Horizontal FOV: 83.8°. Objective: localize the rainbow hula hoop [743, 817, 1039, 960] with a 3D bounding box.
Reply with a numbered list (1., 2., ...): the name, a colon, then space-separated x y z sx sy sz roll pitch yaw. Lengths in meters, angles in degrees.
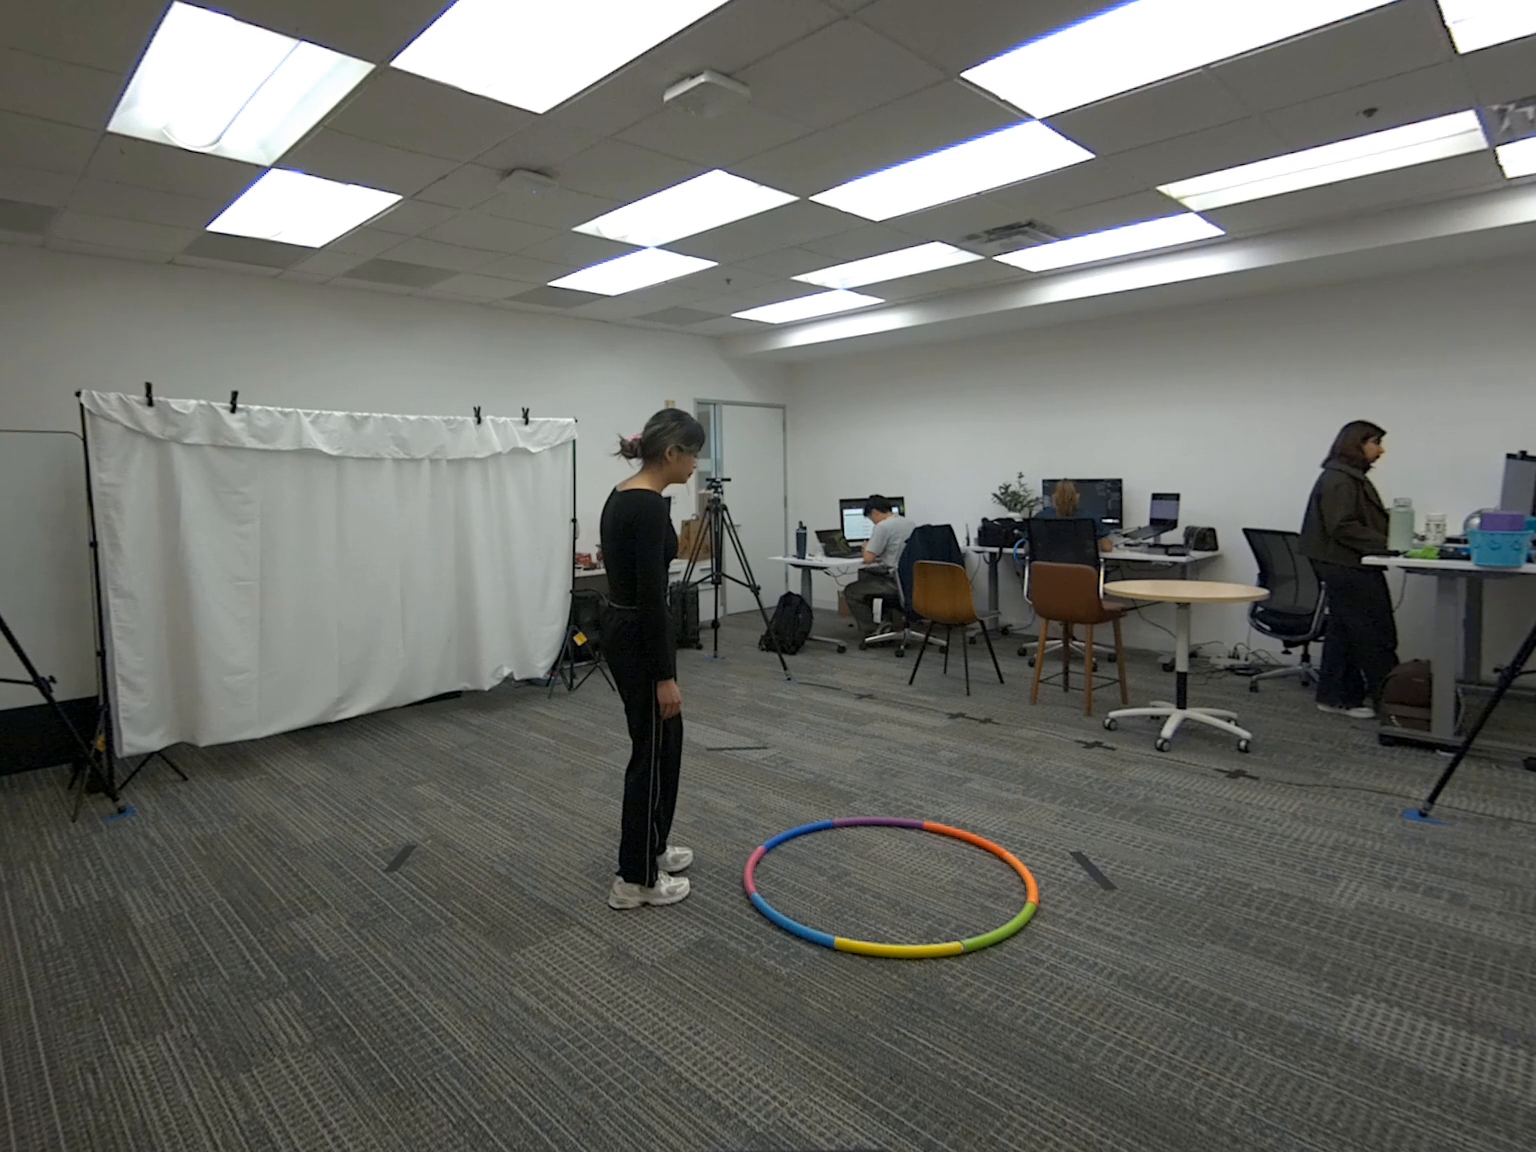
1. rainbow hula hoop: 0.405 1.023 2.952 0.978 0.035 0.984 -2 7 -1
